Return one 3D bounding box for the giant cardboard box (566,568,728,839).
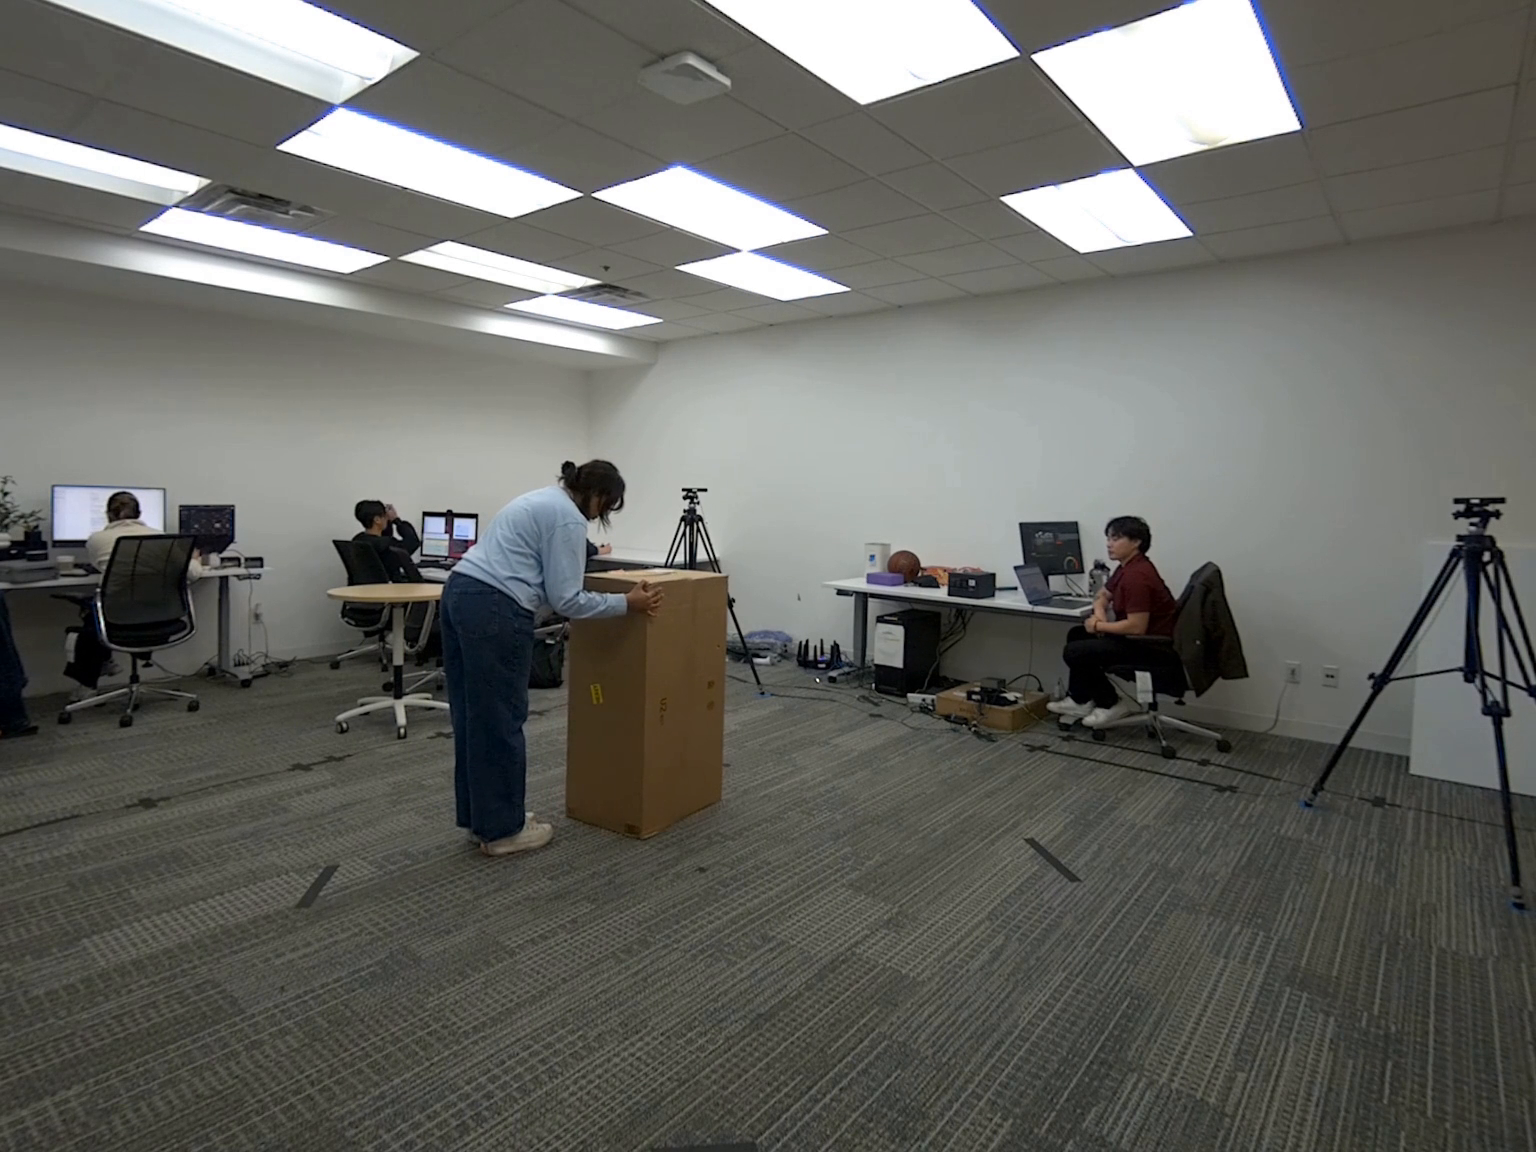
[{"bbox_3d":[-0.526,0.503,3.691,0.439,1.023,0.562,4,4,32],"label":"giant cardboard box"}]
